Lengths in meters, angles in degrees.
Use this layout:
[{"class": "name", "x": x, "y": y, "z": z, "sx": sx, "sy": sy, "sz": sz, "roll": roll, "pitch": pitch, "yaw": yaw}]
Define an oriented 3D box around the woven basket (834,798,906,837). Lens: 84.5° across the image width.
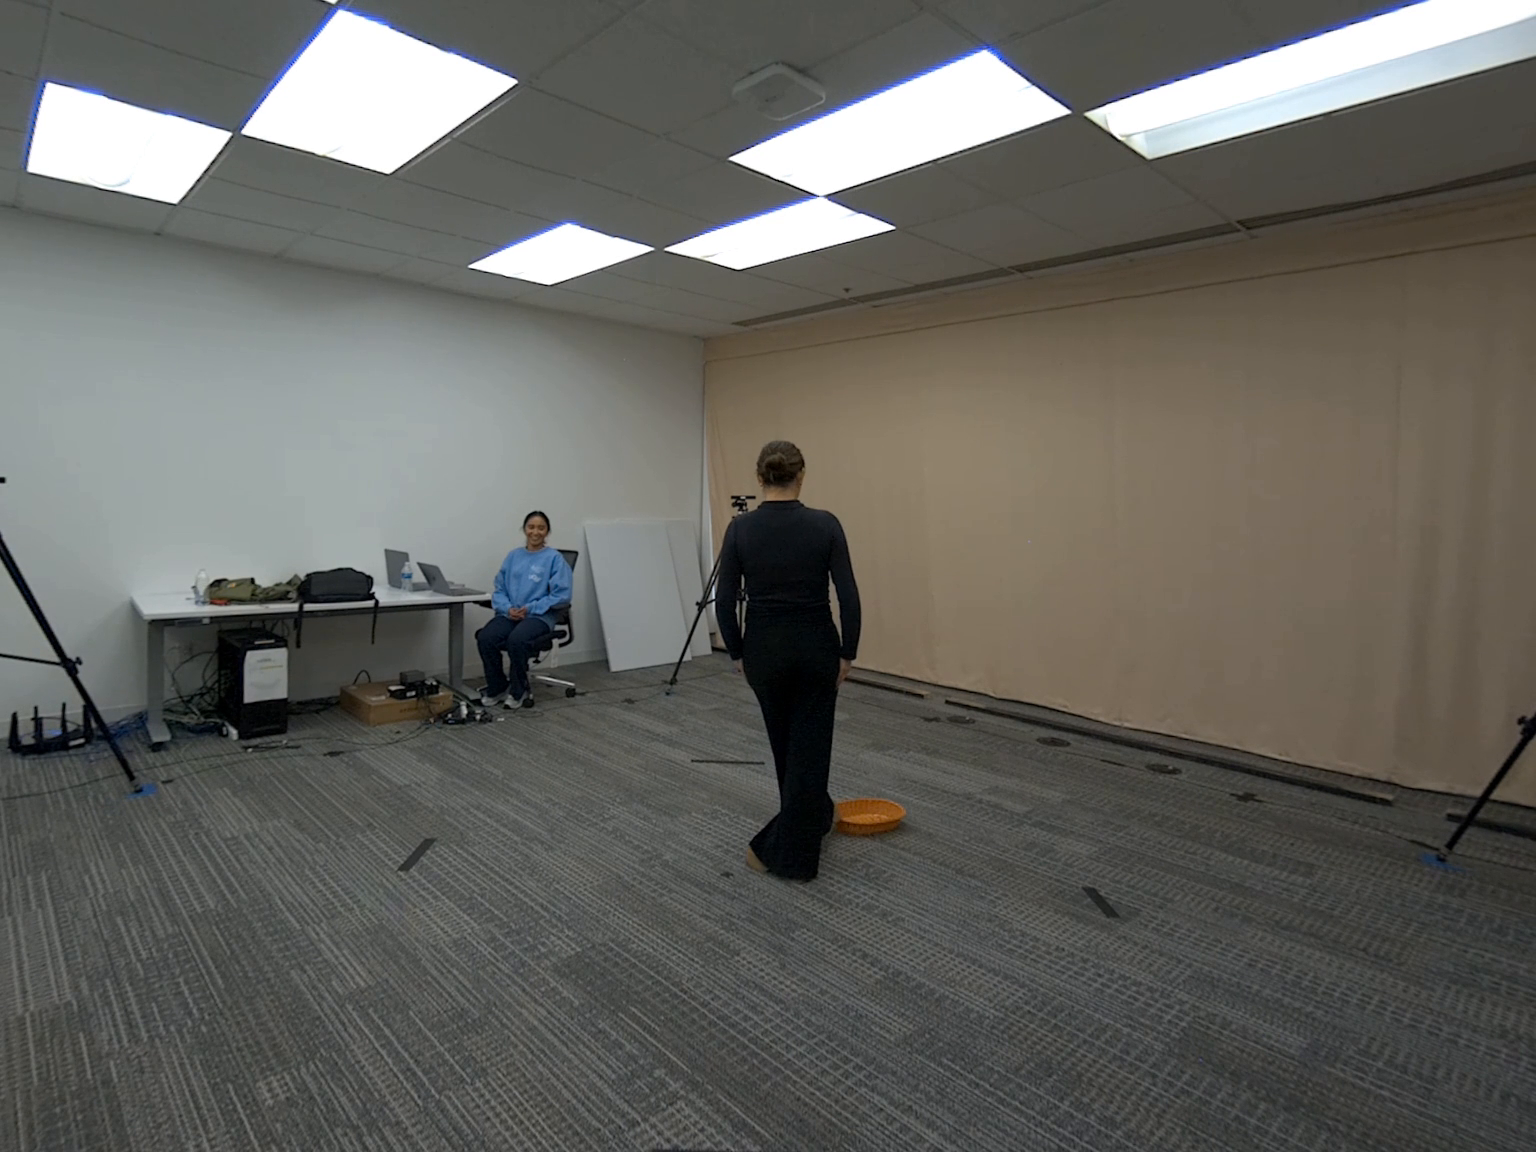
[{"class": "woven basket", "x": 0.412, "y": 1.030, "z": 3.609, "sx": 0.344, "sy": 0.073, "sz": 0.258, "roll": -1, "pitch": 7, "yaw": -23}]
